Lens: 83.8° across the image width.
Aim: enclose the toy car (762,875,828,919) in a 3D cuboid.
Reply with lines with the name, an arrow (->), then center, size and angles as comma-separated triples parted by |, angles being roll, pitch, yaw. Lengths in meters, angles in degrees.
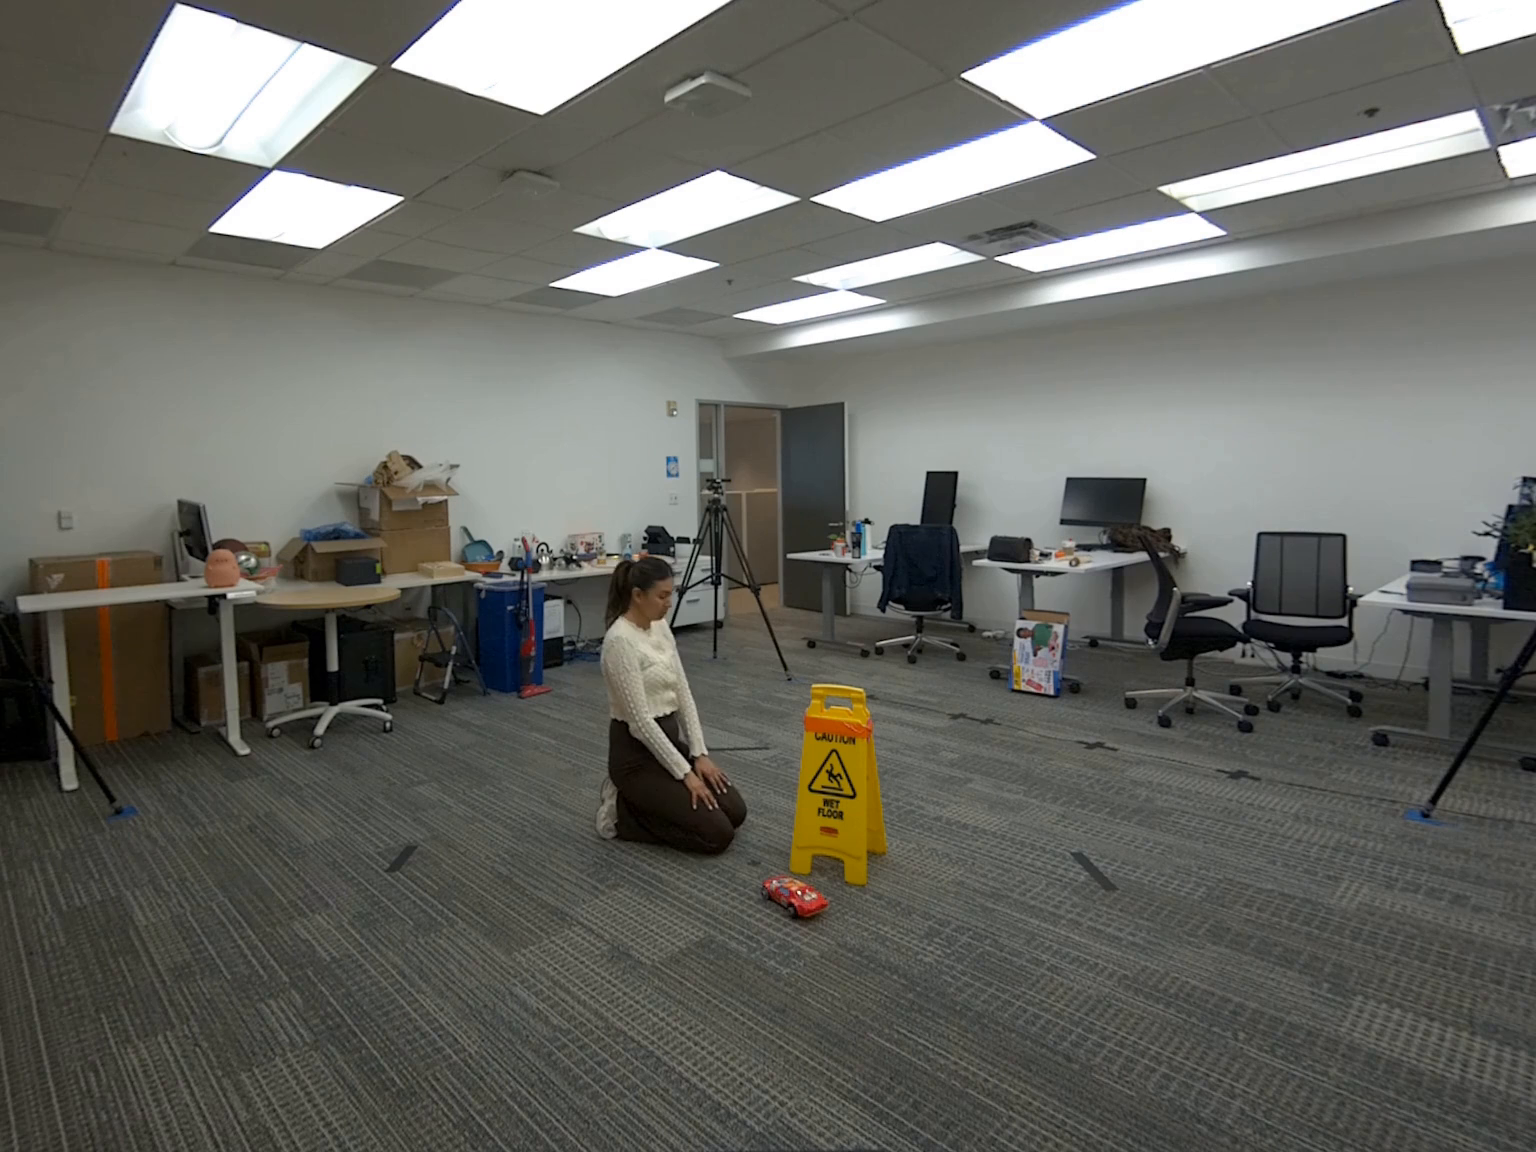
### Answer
toy car -> 0.092, 1.045, 2.782 | 0.127, 0.083, 0.260 | -6, -3, -34
